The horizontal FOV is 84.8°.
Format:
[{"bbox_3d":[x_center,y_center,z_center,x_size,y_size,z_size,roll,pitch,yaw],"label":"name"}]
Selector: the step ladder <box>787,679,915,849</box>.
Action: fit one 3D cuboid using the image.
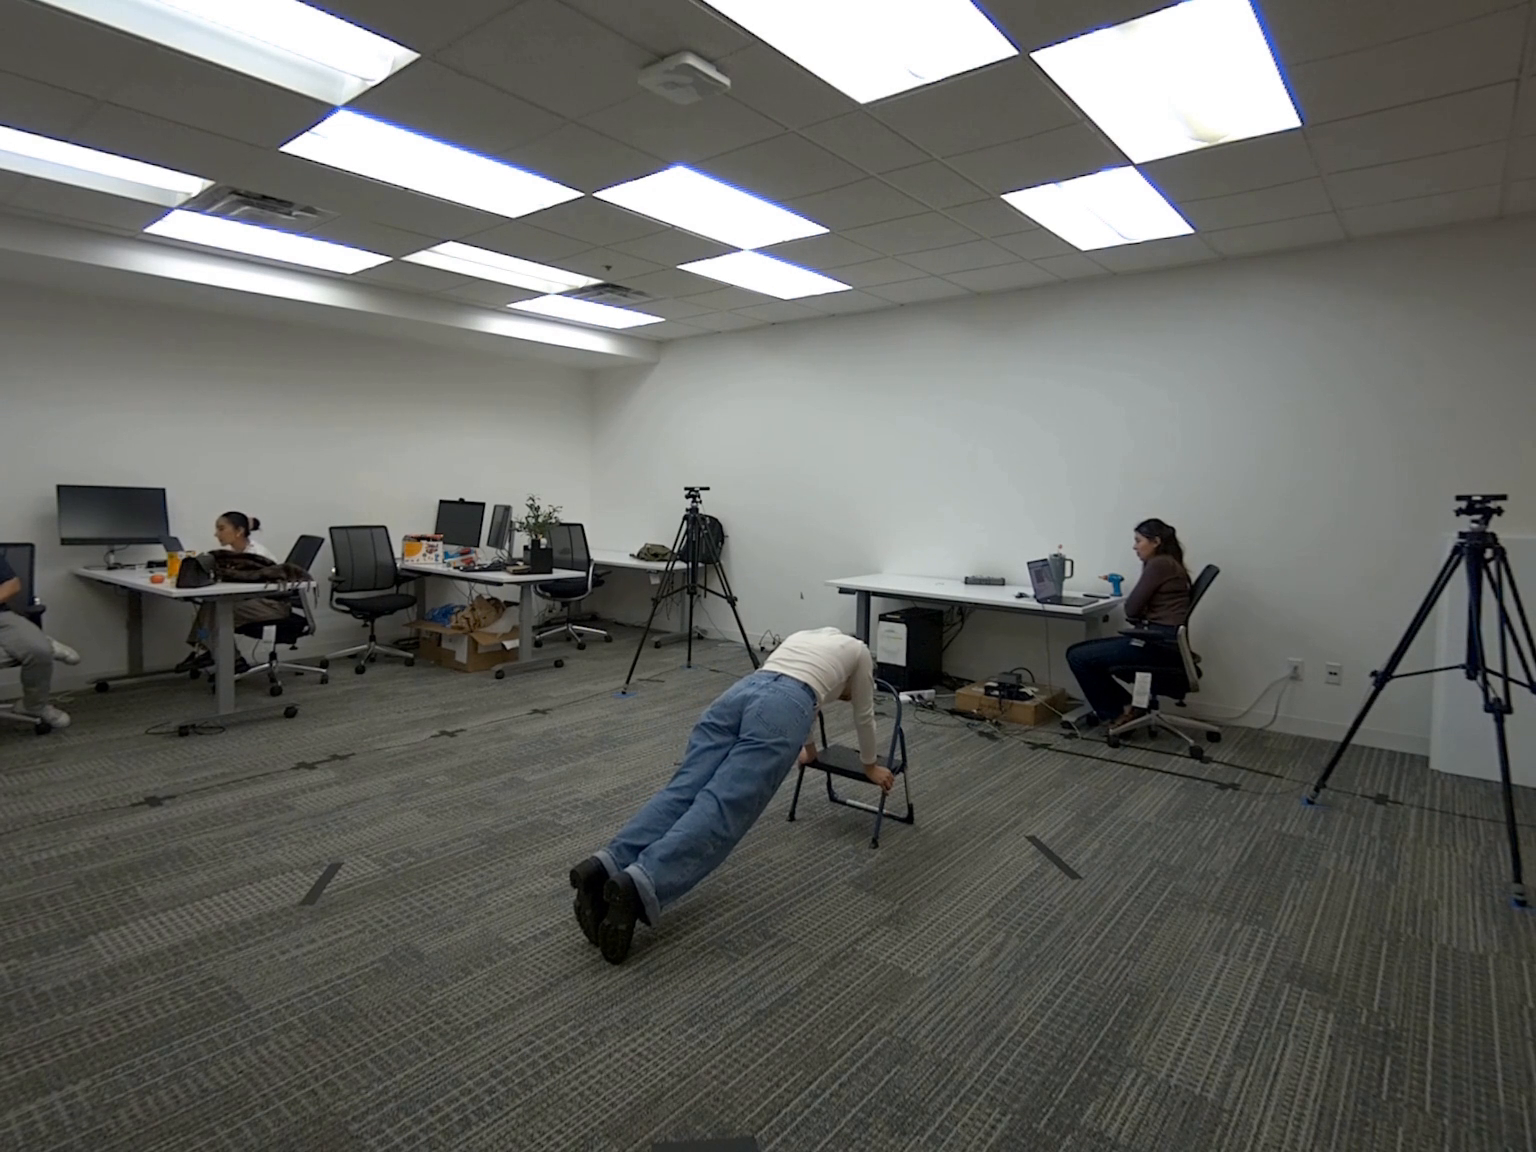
[{"bbox_3d":[0.352,0.730,3.562,0.445,0.604,0.339,4,4,38],"label":"step ladder"}]
